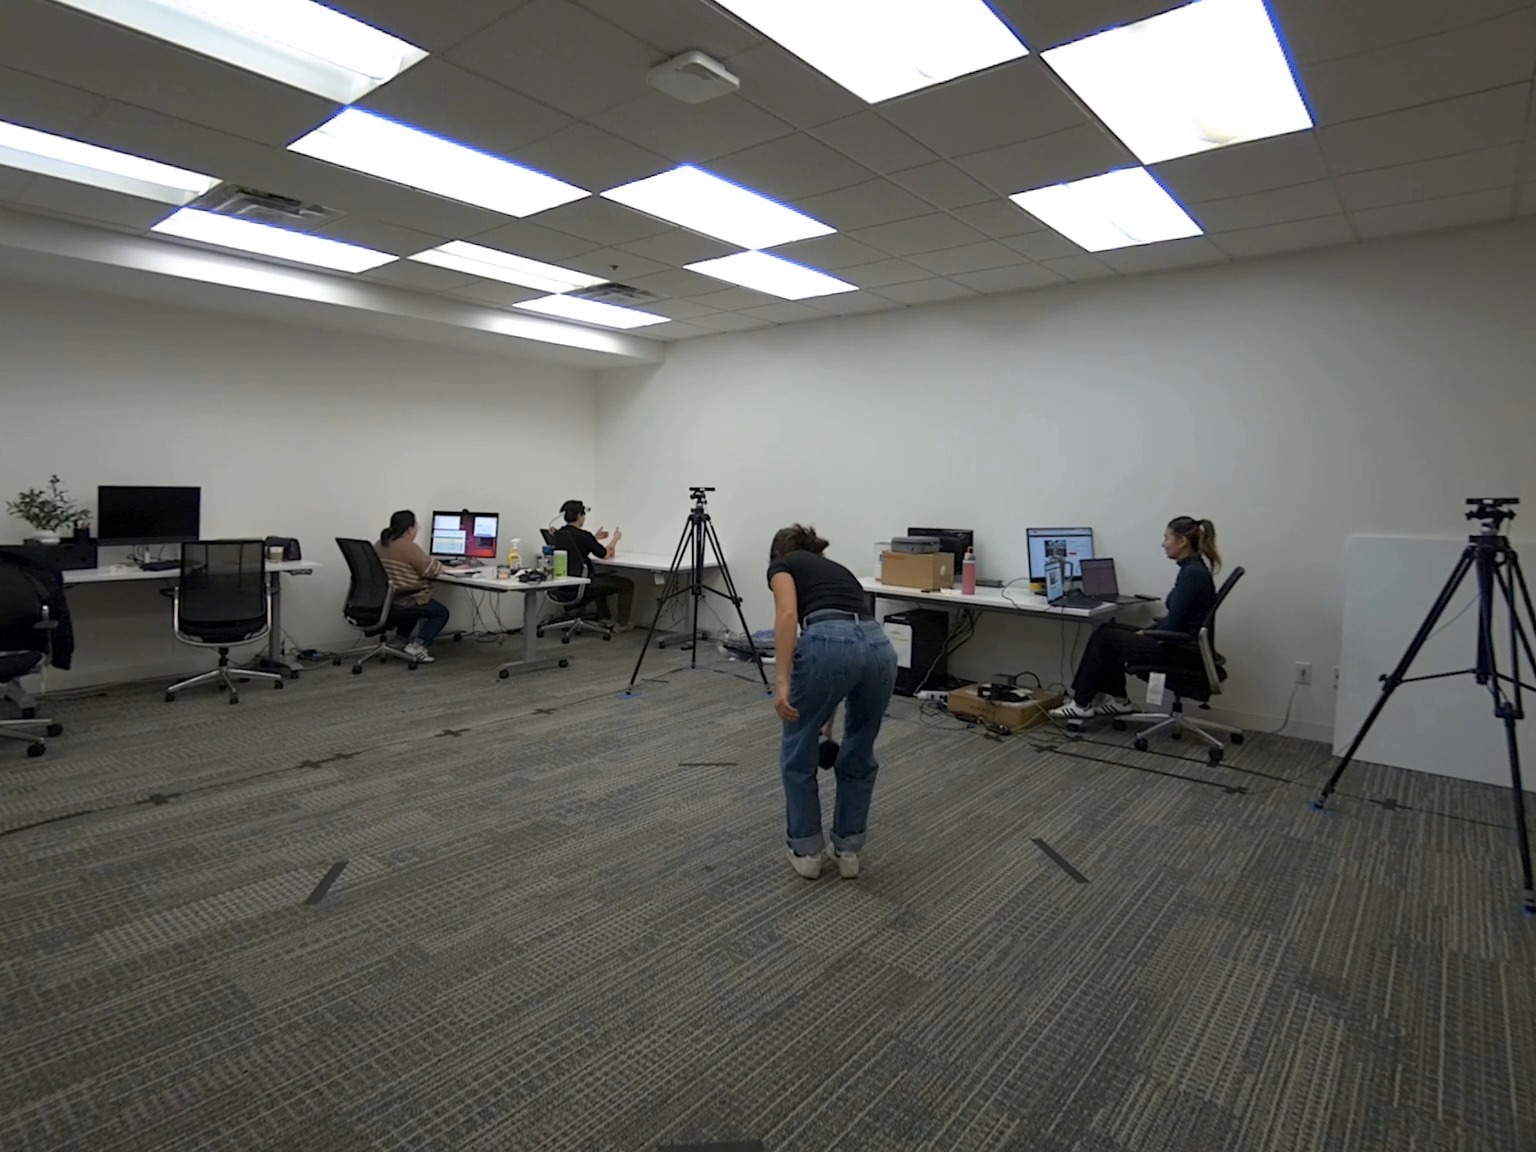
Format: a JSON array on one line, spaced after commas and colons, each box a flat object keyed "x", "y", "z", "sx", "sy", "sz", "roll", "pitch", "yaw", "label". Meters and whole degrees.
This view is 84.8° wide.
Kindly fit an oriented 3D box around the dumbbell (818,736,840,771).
[{"x": 0.192, "y": 0.649, "z": 3.356, "sx": 0.107, "sy": 0.122, "sz": 0.298, "roll": 0, "pitch": 8, "yaw": -11, "label": "dumbbell"}]
